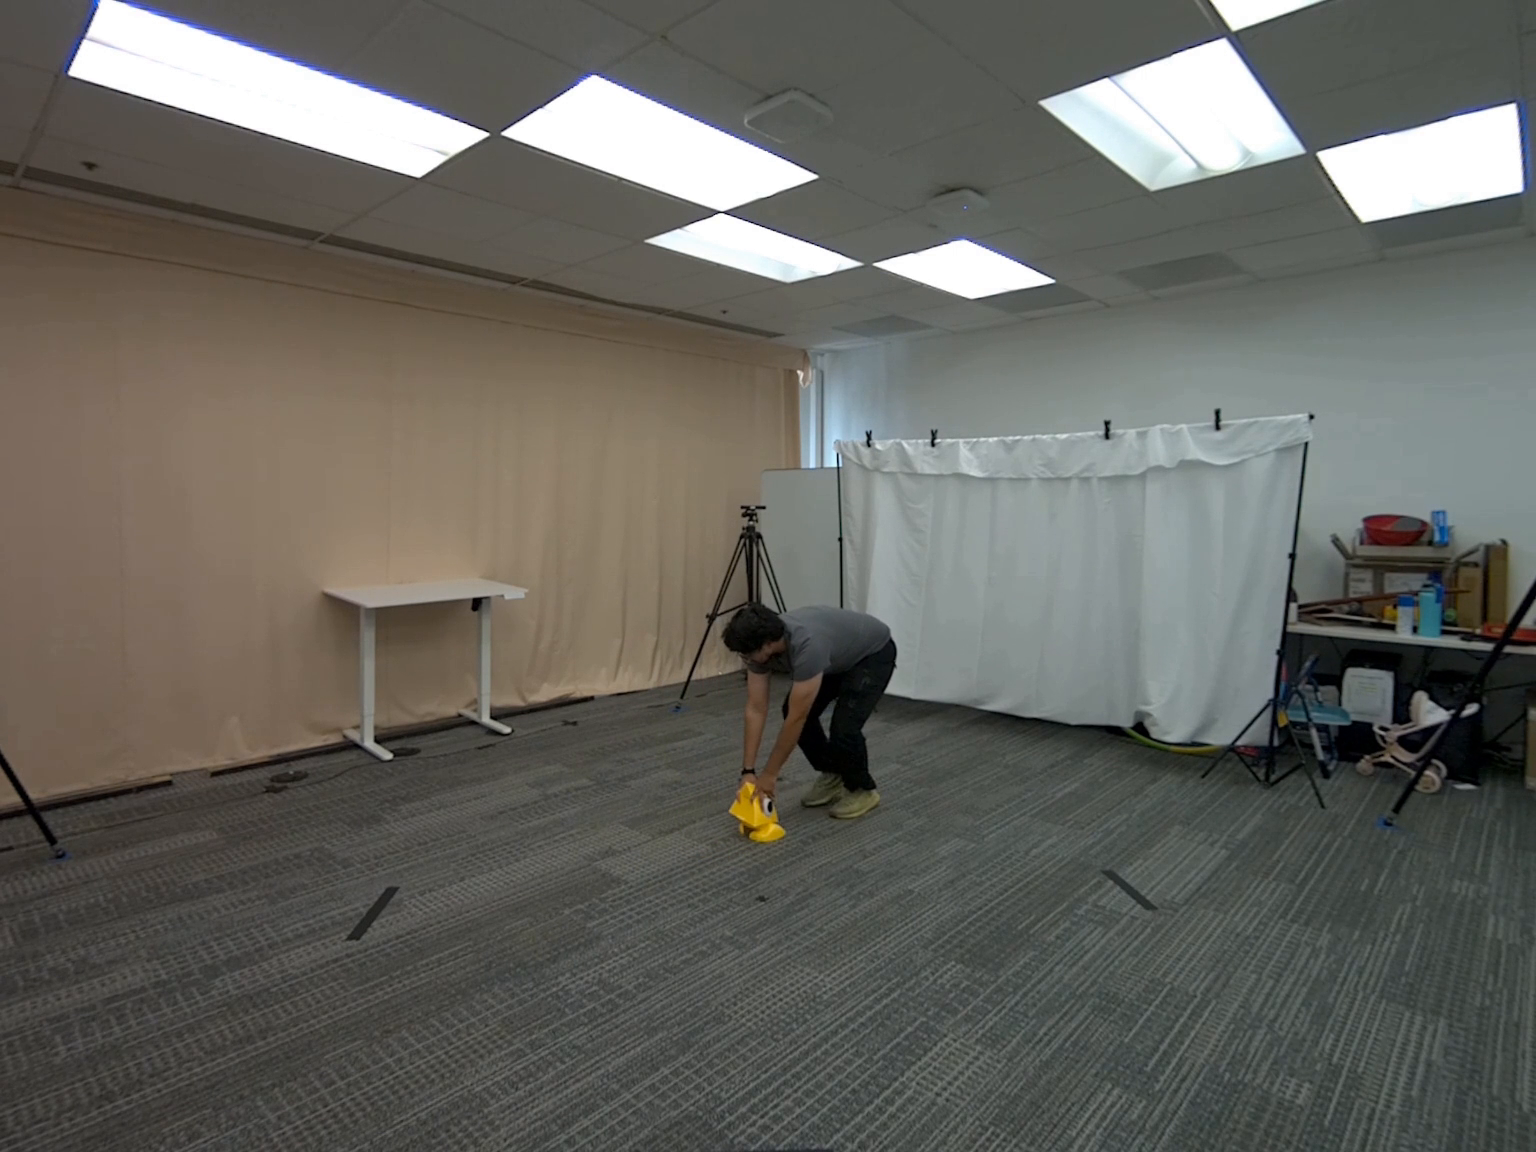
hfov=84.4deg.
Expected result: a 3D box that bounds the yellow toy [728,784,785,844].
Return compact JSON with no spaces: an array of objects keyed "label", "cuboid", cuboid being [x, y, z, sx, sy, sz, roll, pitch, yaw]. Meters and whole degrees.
[{"label":"yellow toy","cuboid":[-0.039,0.981,3.585,0.188,0.230,0.211,-4,5,-32]}]
